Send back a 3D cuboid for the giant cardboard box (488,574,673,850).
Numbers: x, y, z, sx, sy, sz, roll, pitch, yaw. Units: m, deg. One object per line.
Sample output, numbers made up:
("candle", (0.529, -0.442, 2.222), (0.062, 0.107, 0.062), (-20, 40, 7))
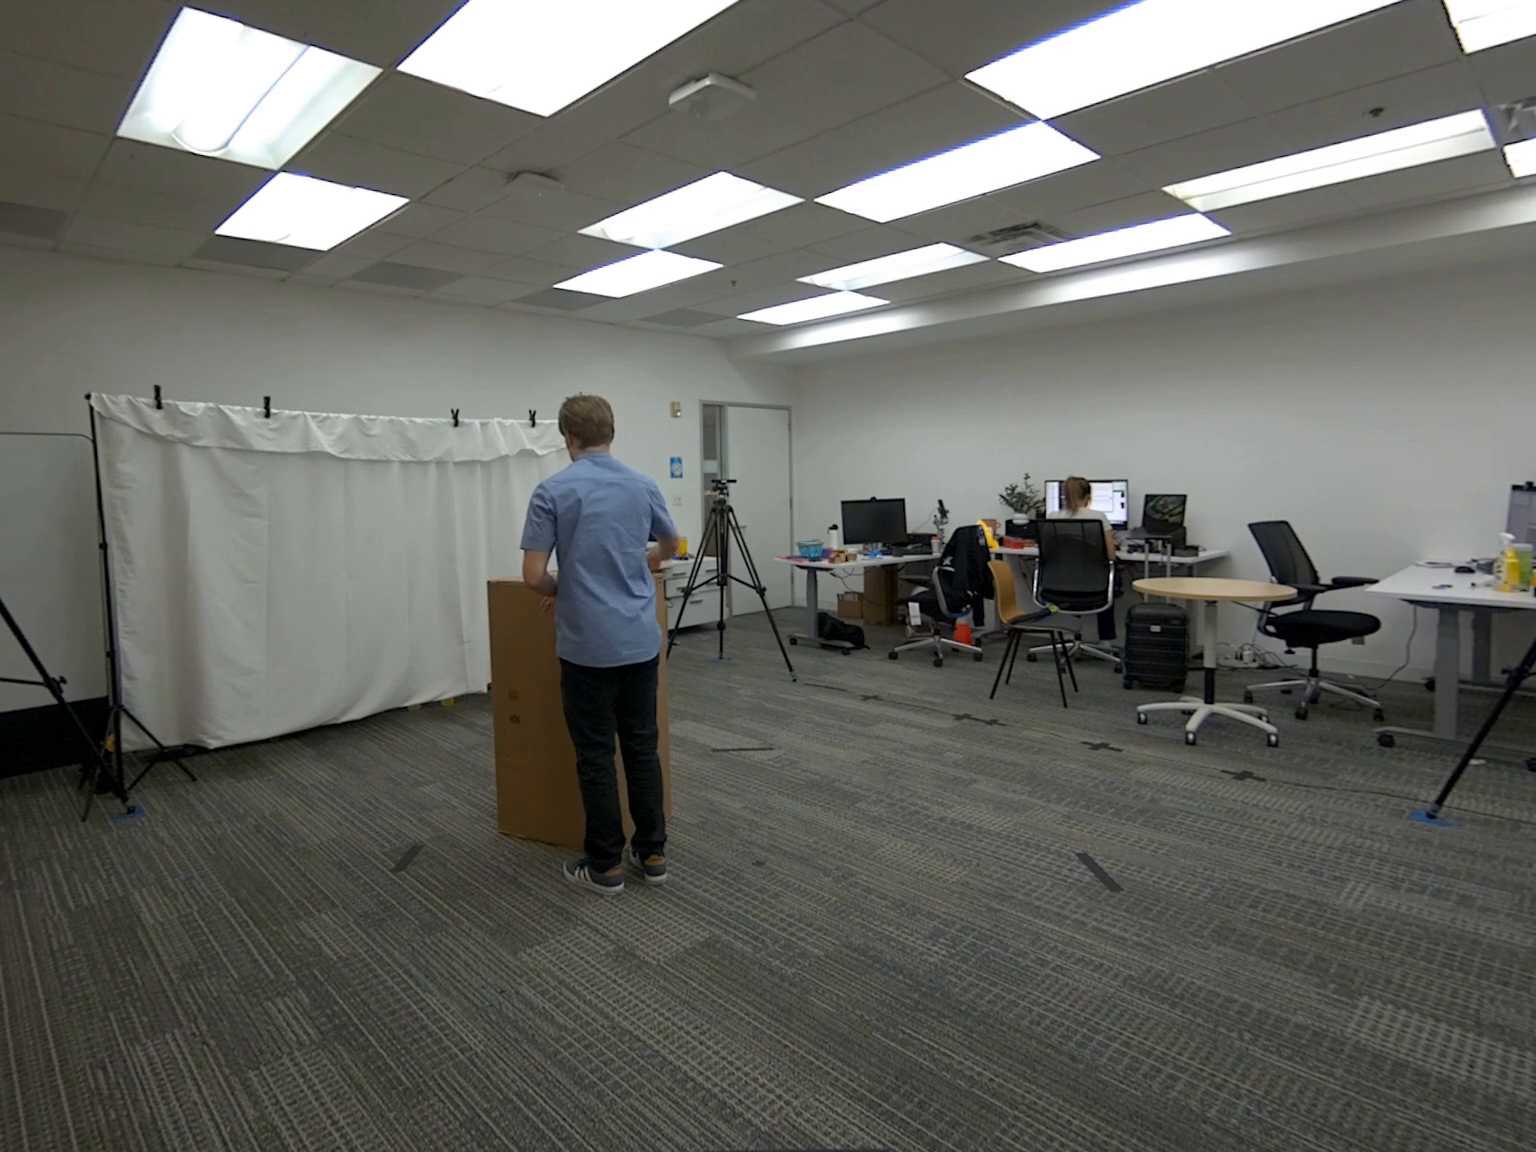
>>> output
("giant cardboard box", (-0.764, 0.514, 3.479), (0.592, 1.023, 0.417), (0, 3, 28))
